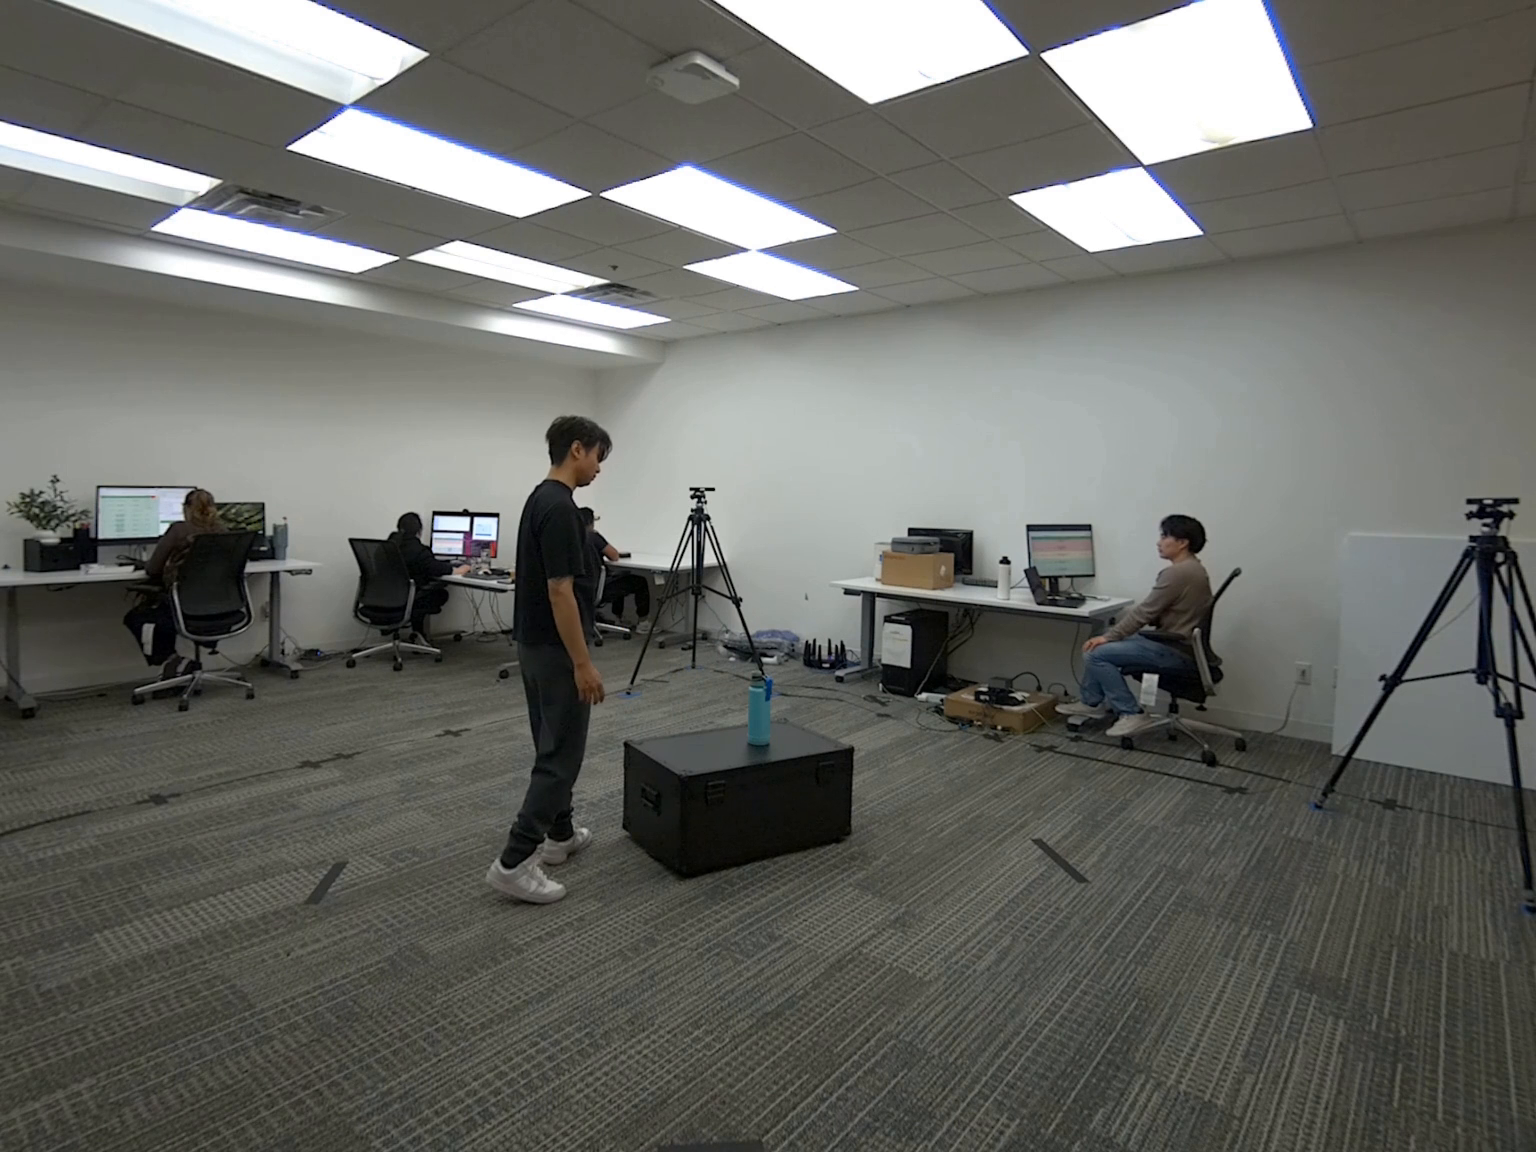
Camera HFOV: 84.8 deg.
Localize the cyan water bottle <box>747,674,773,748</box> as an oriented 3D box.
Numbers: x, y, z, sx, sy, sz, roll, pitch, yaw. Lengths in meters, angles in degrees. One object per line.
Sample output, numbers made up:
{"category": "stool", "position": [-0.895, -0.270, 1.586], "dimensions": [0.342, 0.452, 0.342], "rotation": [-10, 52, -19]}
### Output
{"category": "cyan water bottle", "position": [-0.039, 0.528, 3.420], "dimensions": [0.092, 0.282, 0.093], "rotation": [3, 4, -2]}
